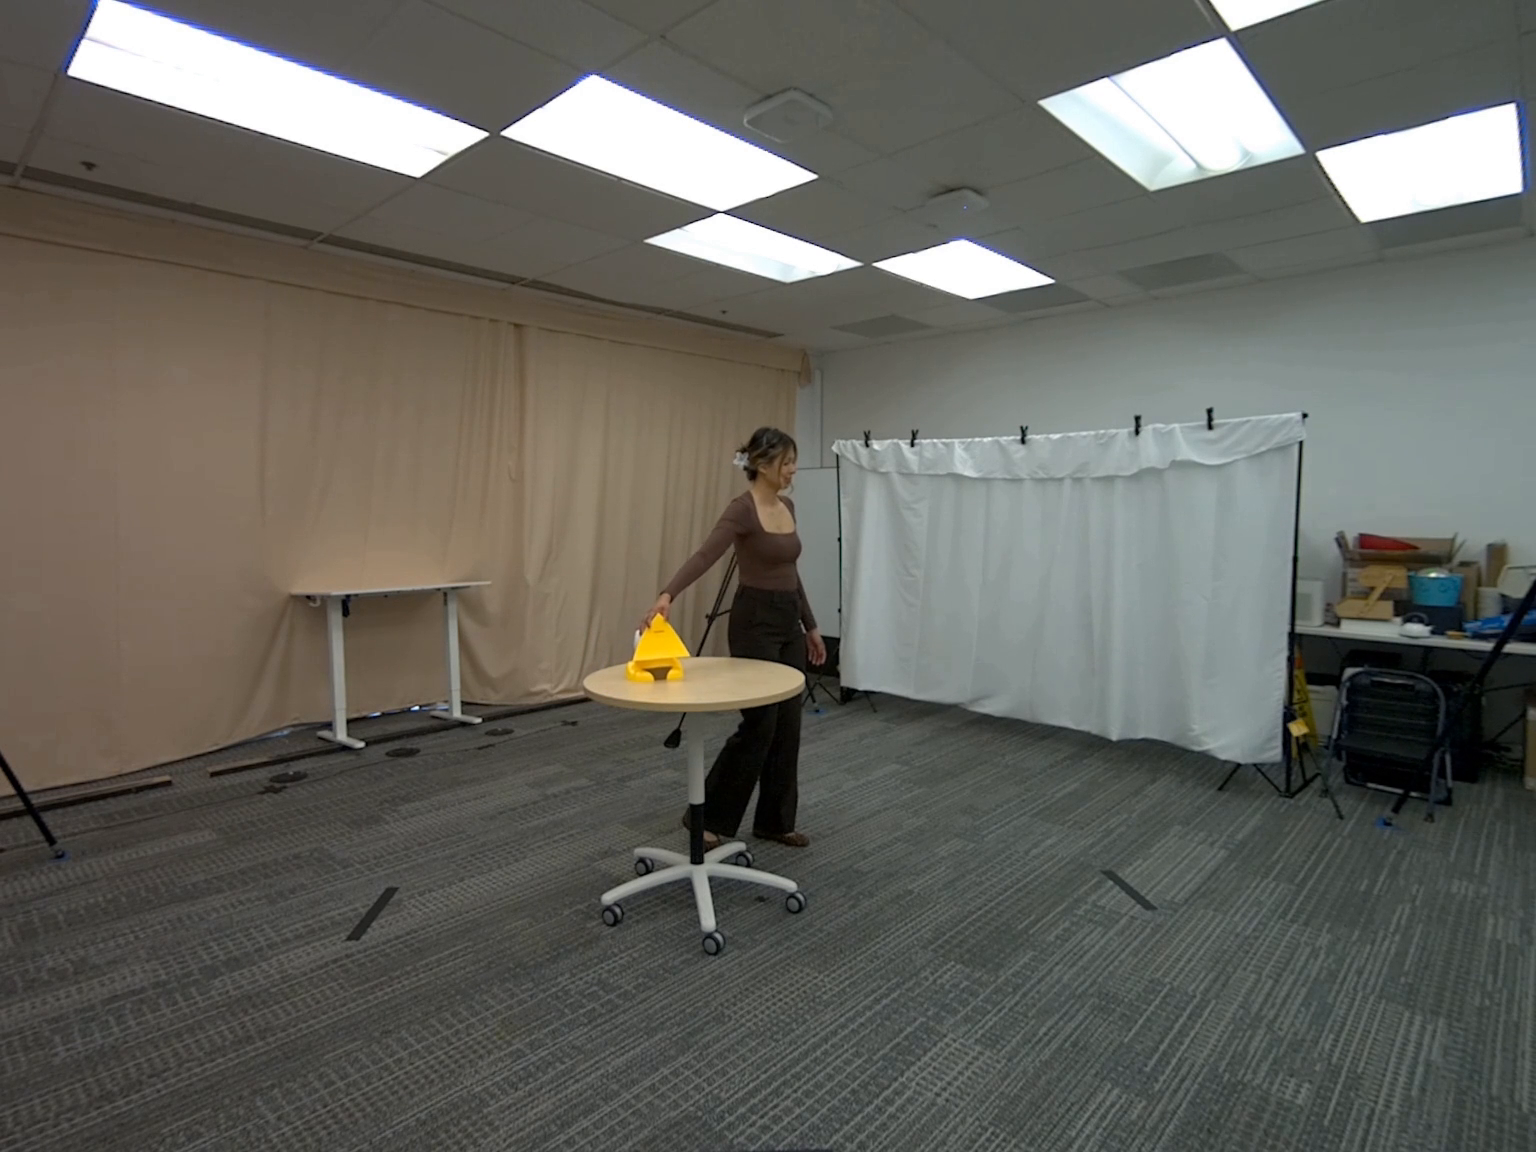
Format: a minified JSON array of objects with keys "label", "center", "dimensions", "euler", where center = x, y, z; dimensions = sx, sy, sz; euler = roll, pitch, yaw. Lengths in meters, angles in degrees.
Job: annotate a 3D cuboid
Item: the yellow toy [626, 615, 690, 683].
[{"label":"yellow toy","center":[-0.398,0.240,2.948],"dimensions":[0.200,0.230,0.198],"euler":[-3,5,-23]}]
